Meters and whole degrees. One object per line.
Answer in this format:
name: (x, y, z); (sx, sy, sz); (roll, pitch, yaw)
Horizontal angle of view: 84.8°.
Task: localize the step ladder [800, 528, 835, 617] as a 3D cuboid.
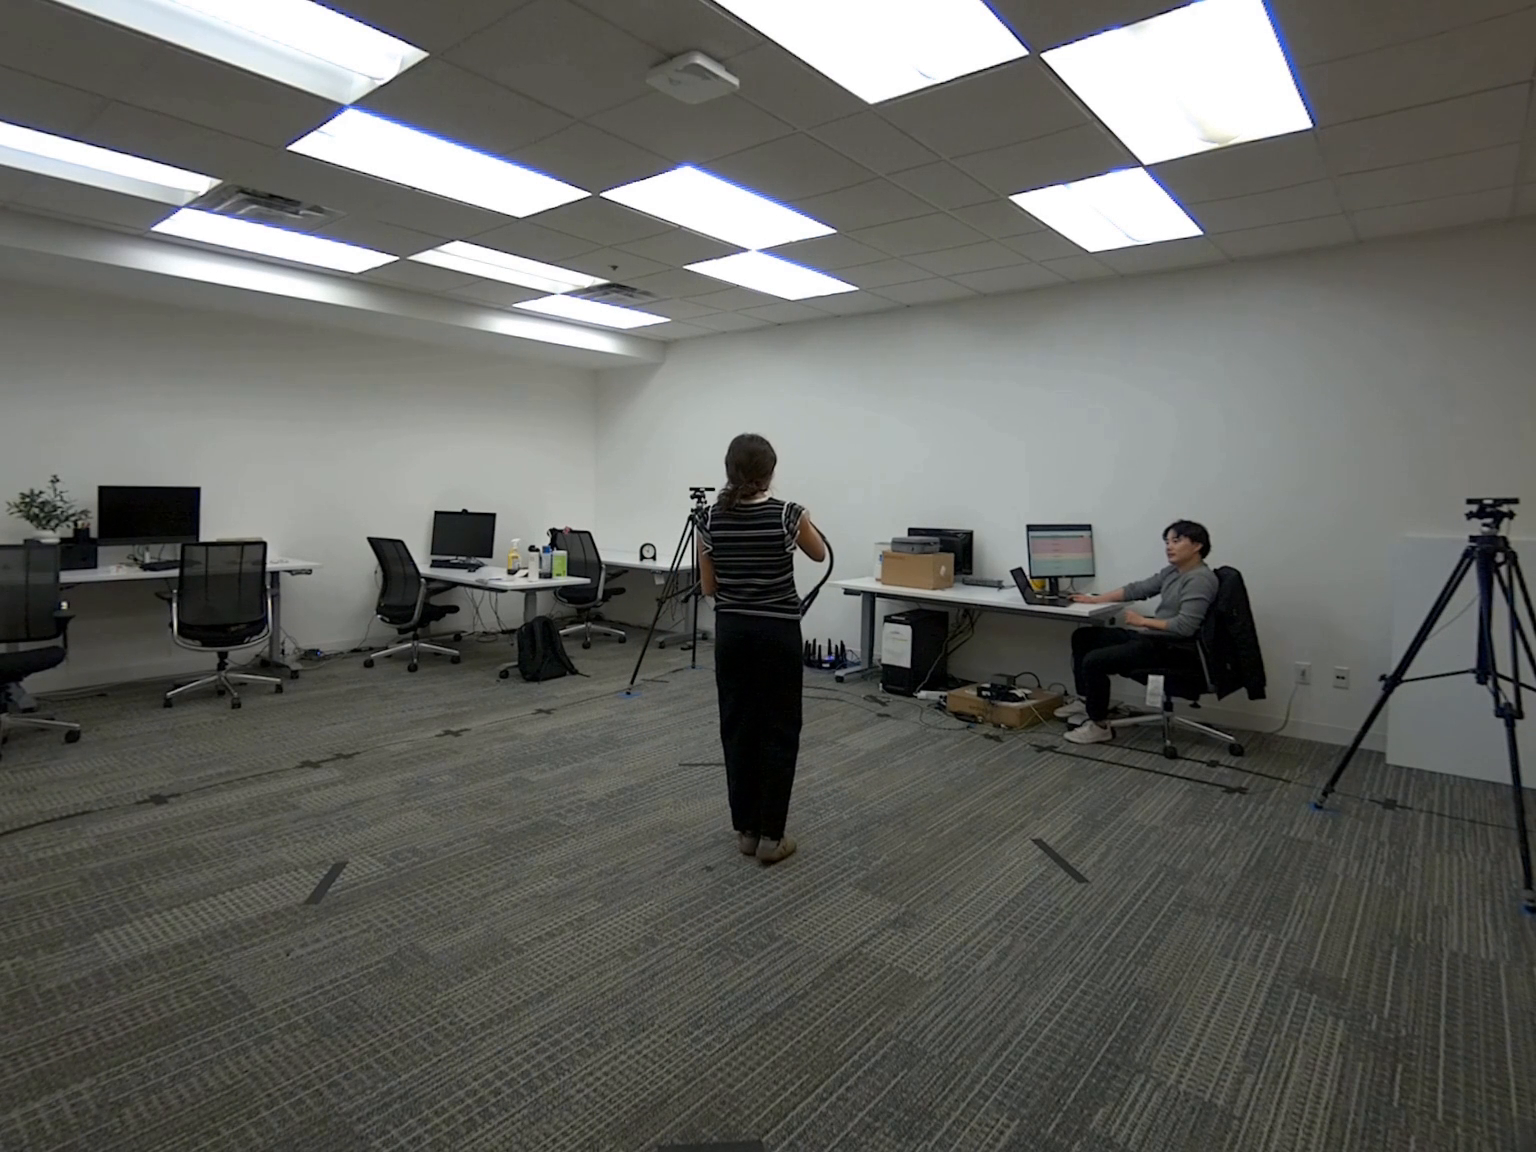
step ladder: (-0.015, 0.008, 3.678); (0.442, 0.602, 0.342); (46, 34, 17)
